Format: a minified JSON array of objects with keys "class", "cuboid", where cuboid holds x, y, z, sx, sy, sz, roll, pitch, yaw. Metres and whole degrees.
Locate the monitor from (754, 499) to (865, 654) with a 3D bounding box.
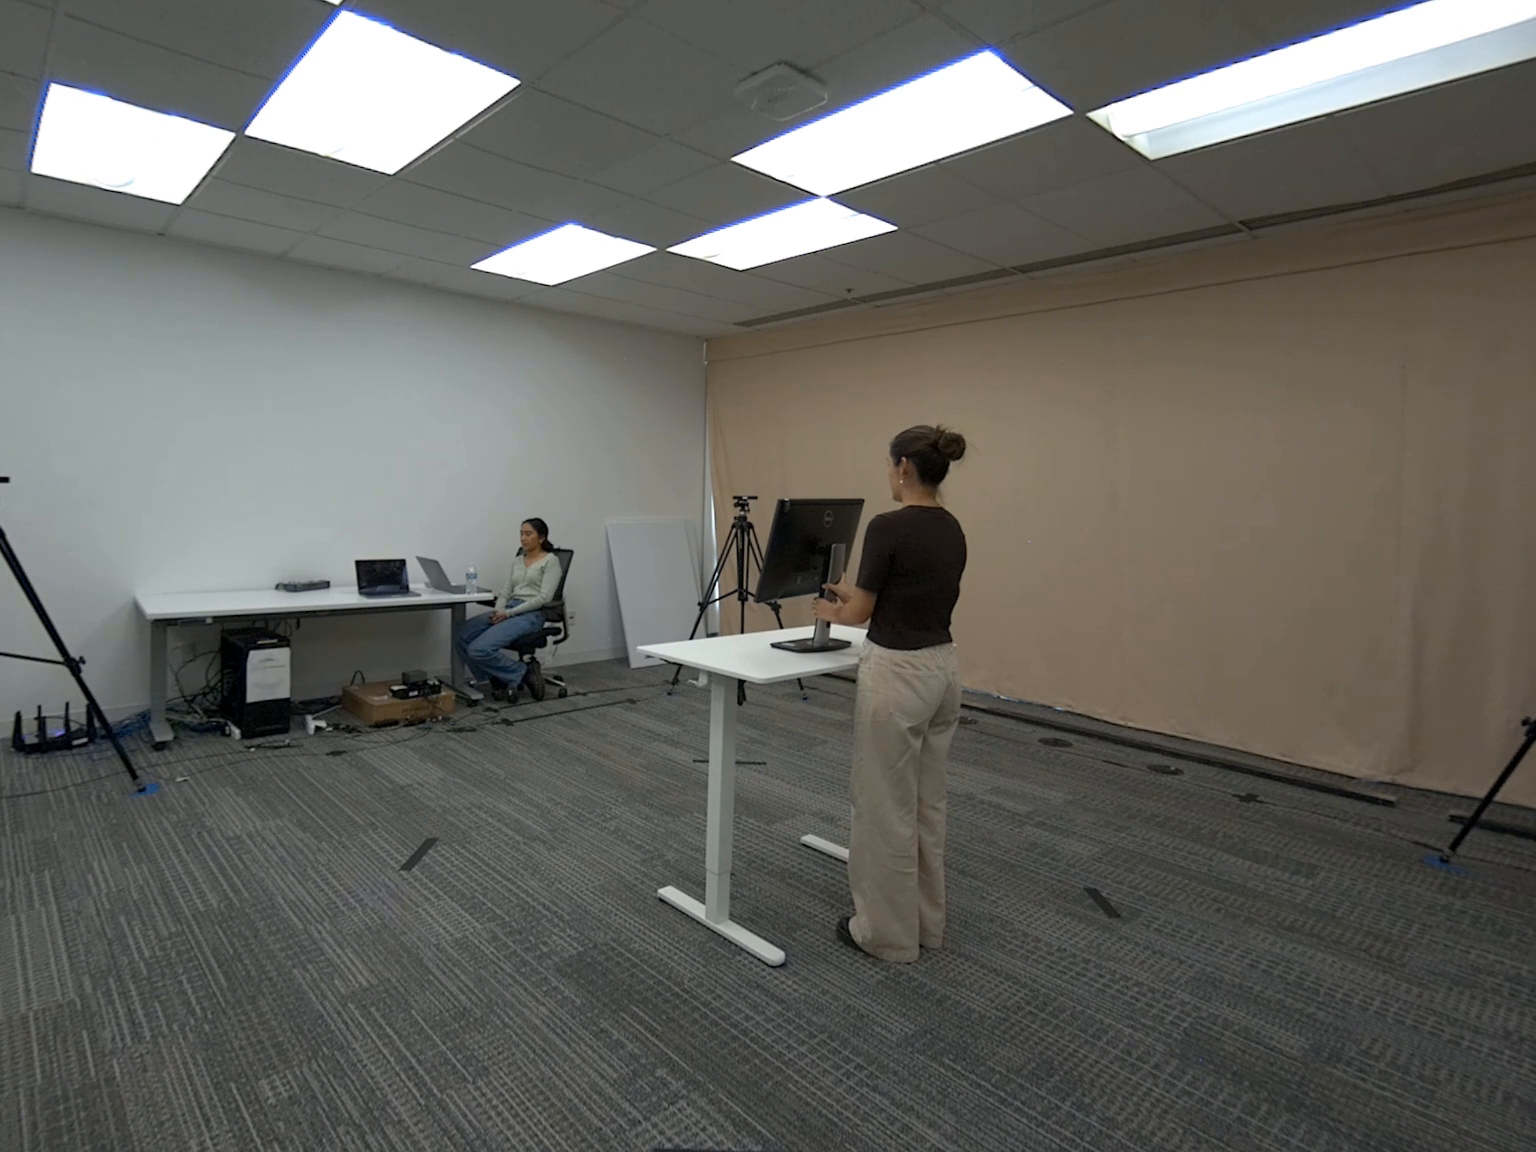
[{"class":"monitor","cuboid":[0.164,-0.006,2.892,0.191,0.521,0.528,5,6,34]}]
